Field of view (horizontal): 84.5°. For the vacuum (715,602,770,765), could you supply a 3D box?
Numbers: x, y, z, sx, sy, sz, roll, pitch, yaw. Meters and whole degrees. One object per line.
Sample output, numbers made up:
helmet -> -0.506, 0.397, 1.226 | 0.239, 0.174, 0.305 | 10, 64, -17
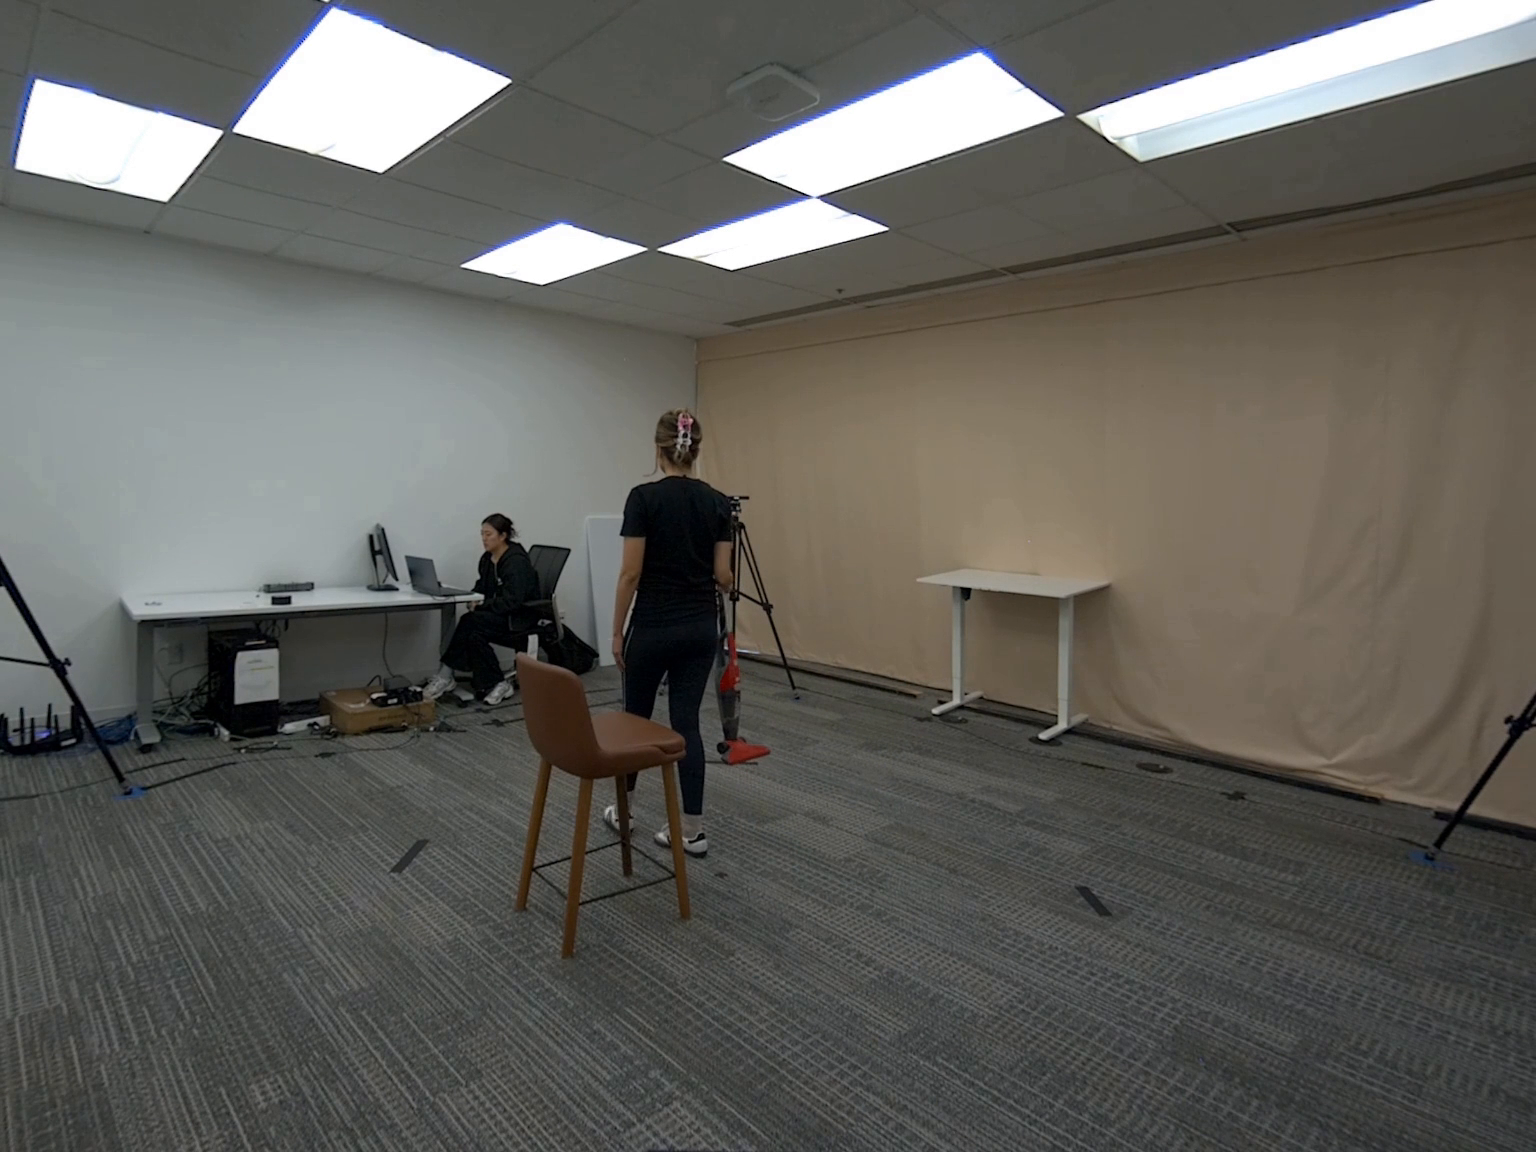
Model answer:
vacuum -> -0.202, 0.247, 3.663 | 0.146, 1.056, 0.247 | -16, -11, 43
